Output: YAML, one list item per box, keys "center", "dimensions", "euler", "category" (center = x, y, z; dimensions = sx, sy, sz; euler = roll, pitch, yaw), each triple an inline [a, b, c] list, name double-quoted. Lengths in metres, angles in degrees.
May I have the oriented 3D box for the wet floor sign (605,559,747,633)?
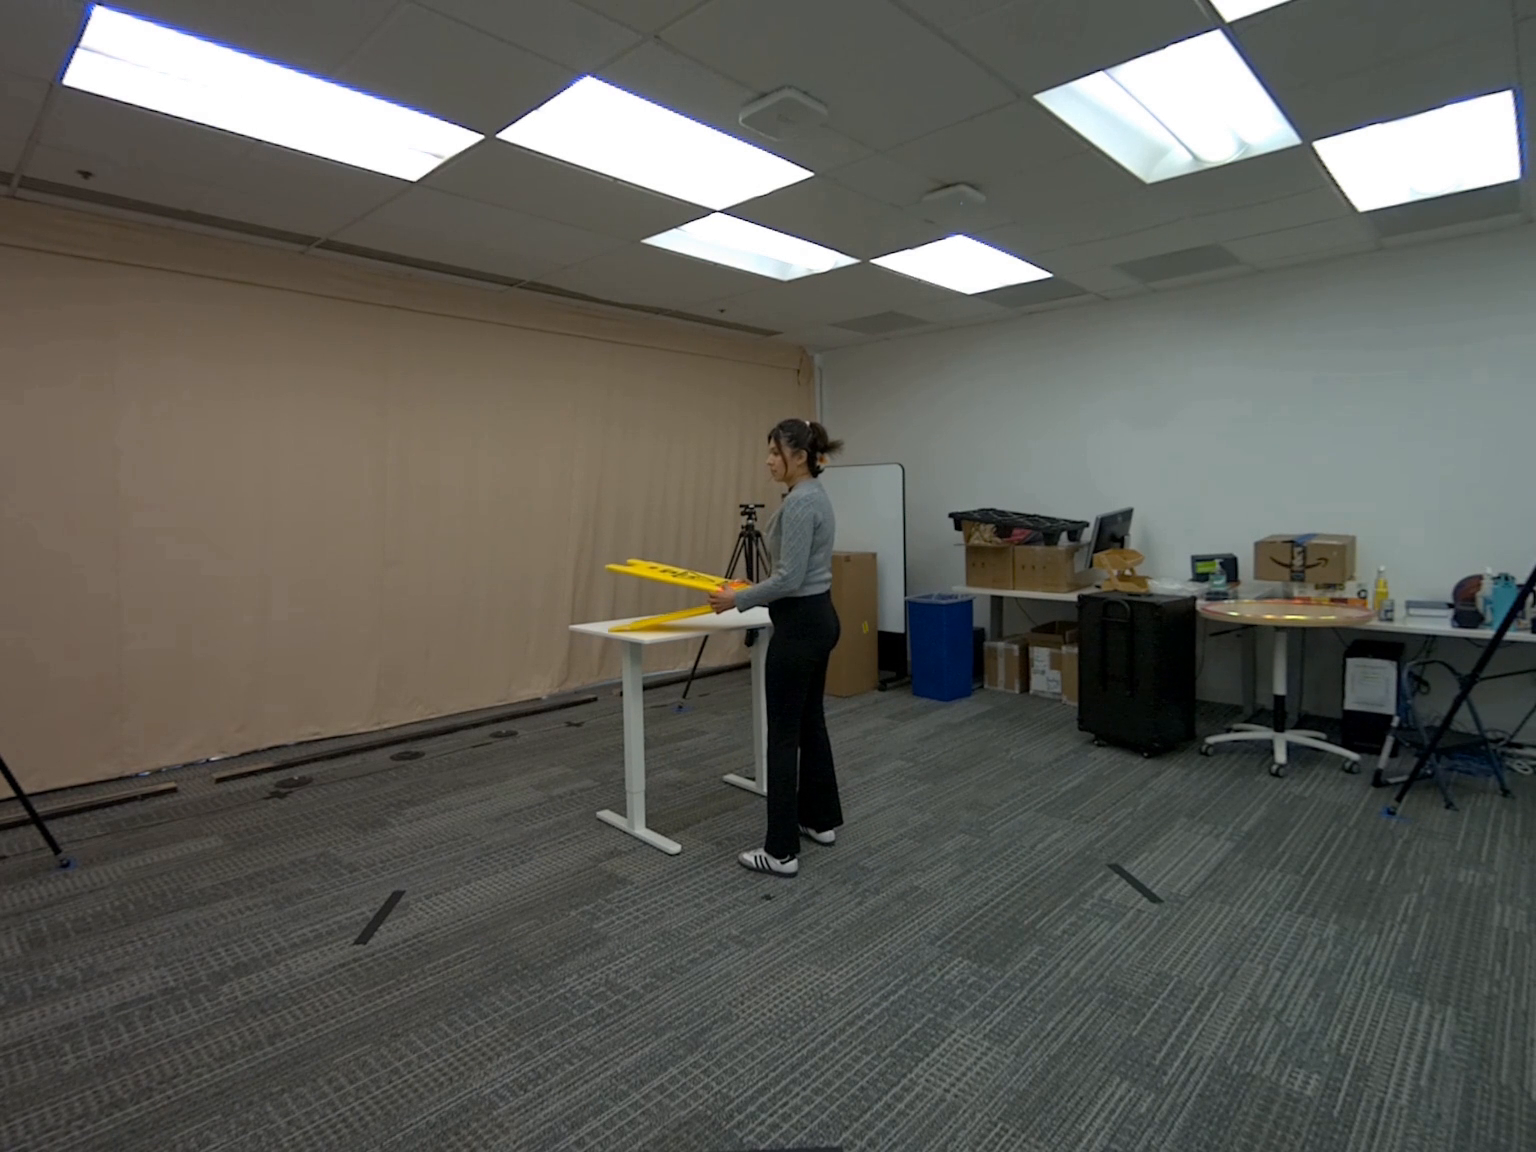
- center: [-0.321, 0.082, 3.480]
  dimensions: [0.659, 0.289, 0.277]
  euler: [-1, 5, 20]
  category: "wet floor sign"
